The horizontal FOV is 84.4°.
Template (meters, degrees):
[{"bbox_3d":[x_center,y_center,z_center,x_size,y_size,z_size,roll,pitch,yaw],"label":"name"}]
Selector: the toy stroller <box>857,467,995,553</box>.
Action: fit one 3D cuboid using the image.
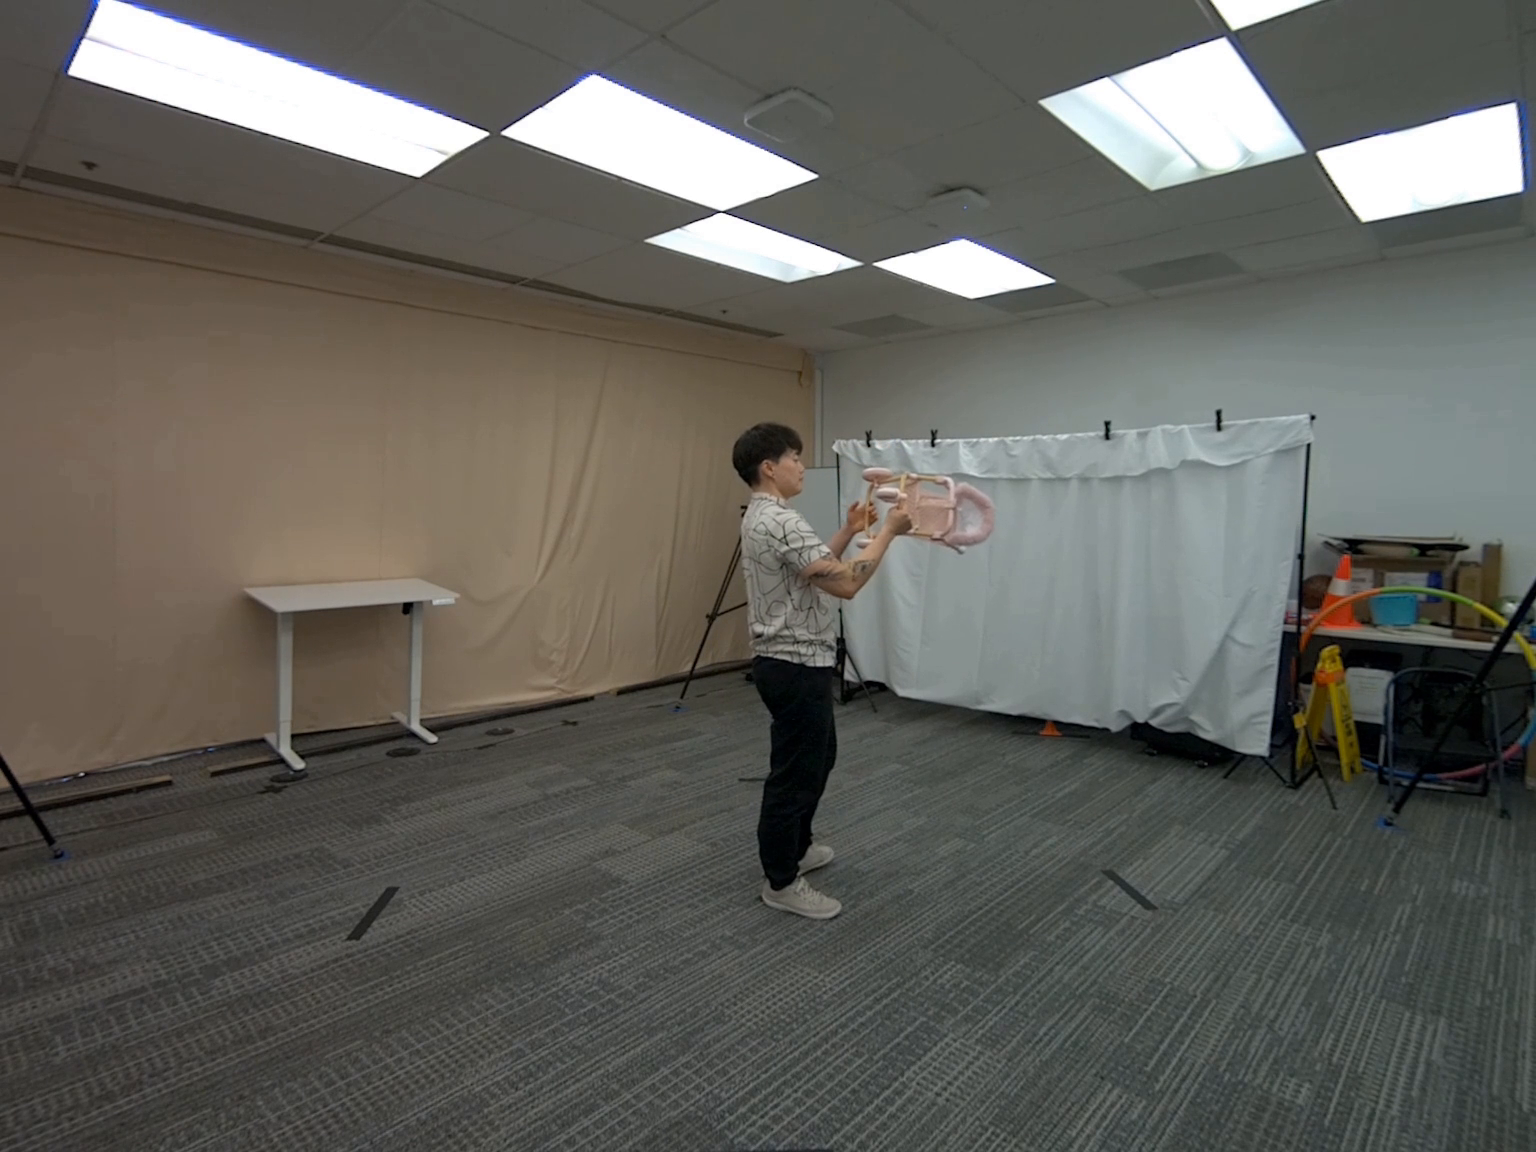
[{"bbox_3d":[0.561,-0.220,2.871,0.524,0.283,0.346,9,-12,-18],"label":"toy stroller"}]
